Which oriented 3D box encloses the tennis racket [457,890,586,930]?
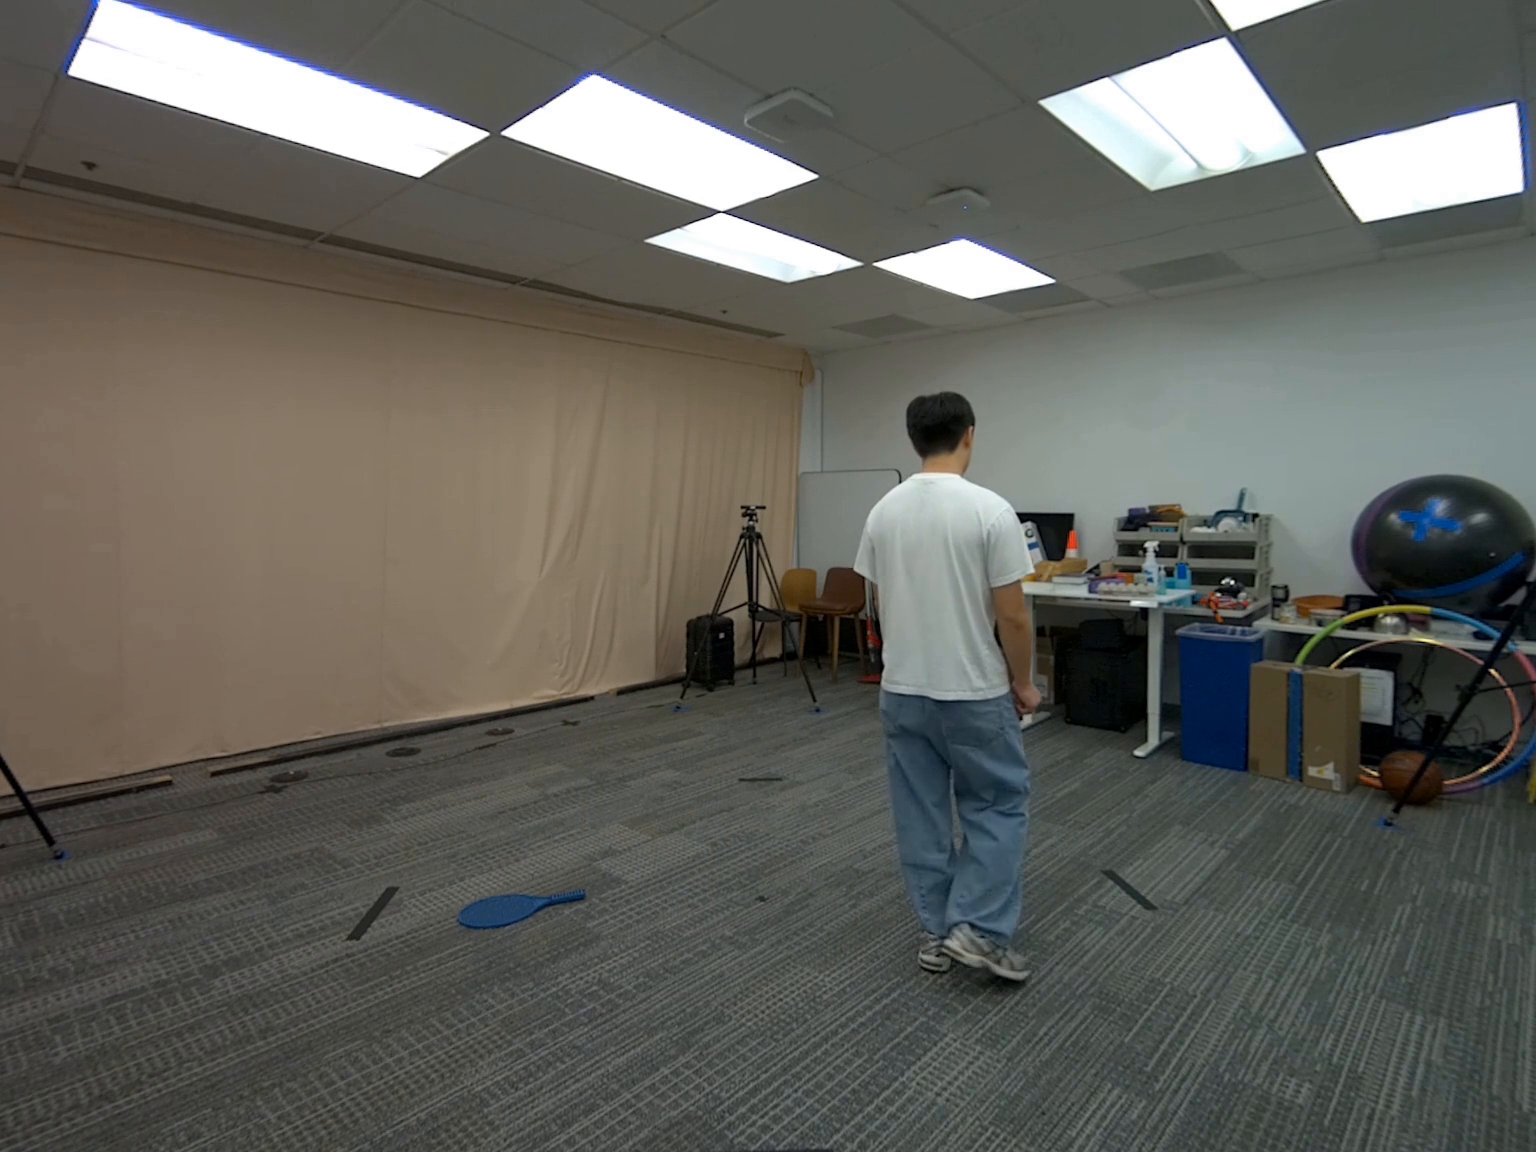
[{"bbox_3d":[-0.847,1.141,2.914,0.425,0.031,0.218,-4,6,-19],"label":"tennis racket"}]
